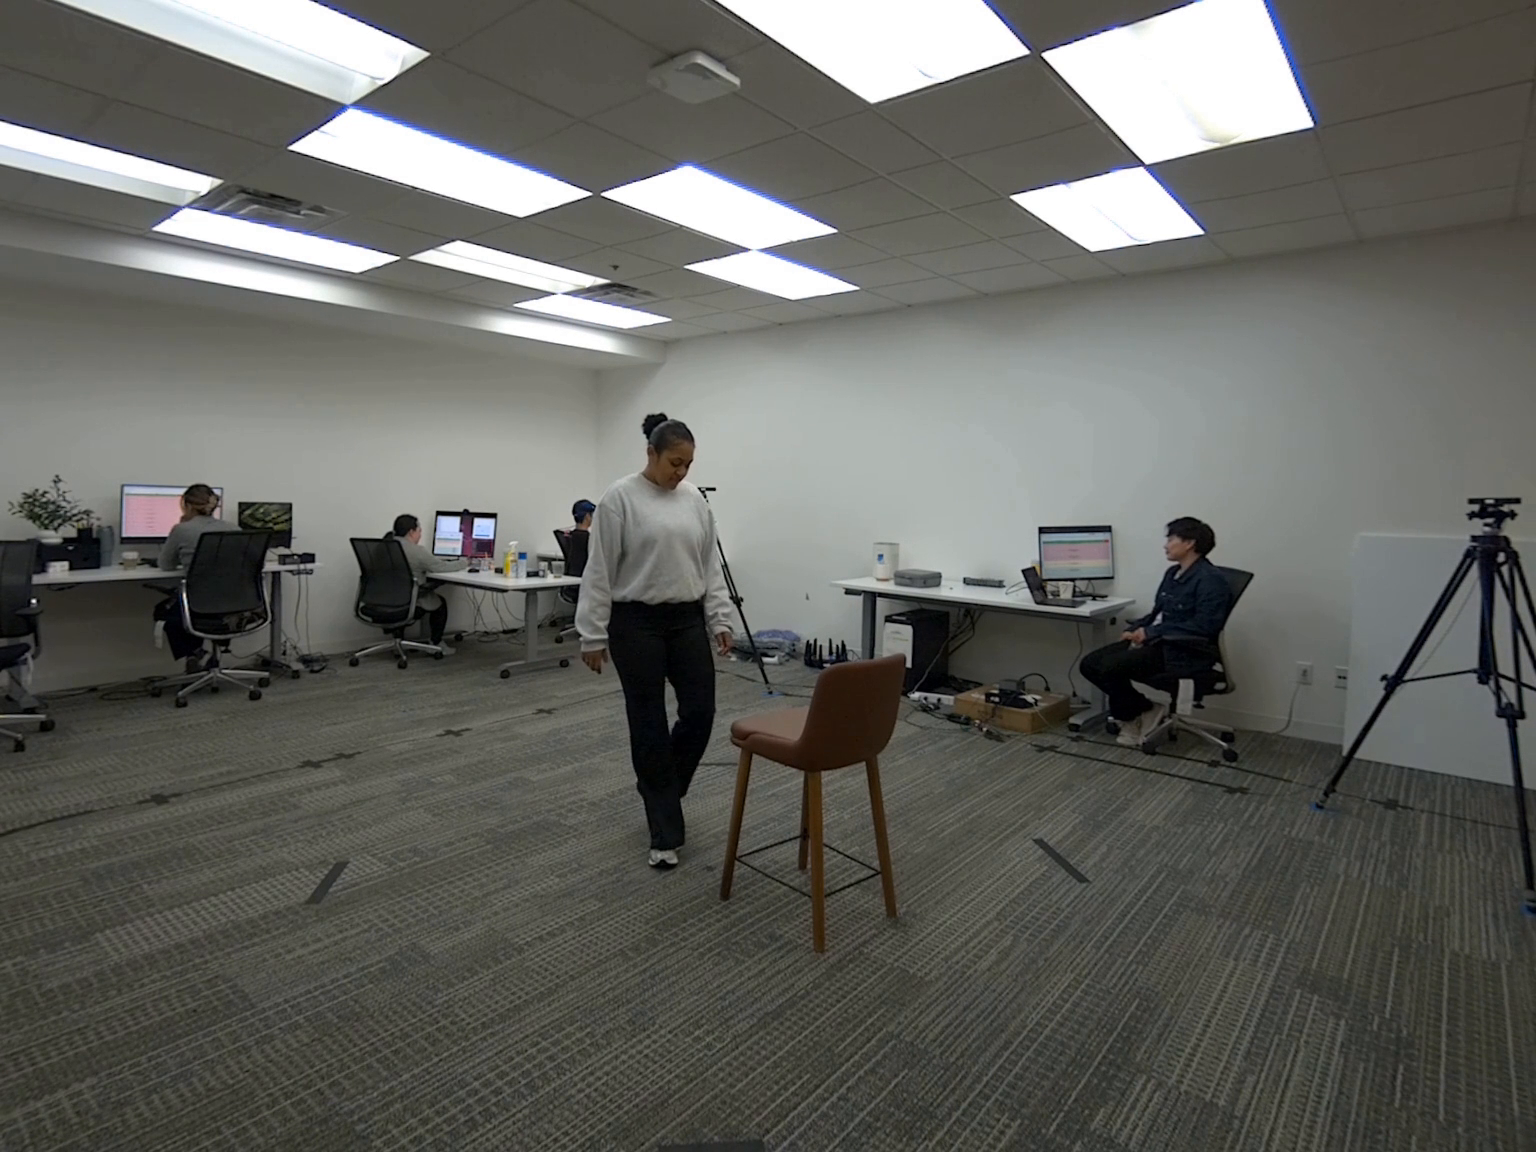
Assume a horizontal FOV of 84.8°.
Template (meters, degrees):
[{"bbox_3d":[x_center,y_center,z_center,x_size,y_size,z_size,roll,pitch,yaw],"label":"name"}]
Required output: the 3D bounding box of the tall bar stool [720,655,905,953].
[{"bbox_3d":[0.148,0.666,2.815,0.442,0.886,0.484,-1,7,-42],"label":"tall bar stool"}]
